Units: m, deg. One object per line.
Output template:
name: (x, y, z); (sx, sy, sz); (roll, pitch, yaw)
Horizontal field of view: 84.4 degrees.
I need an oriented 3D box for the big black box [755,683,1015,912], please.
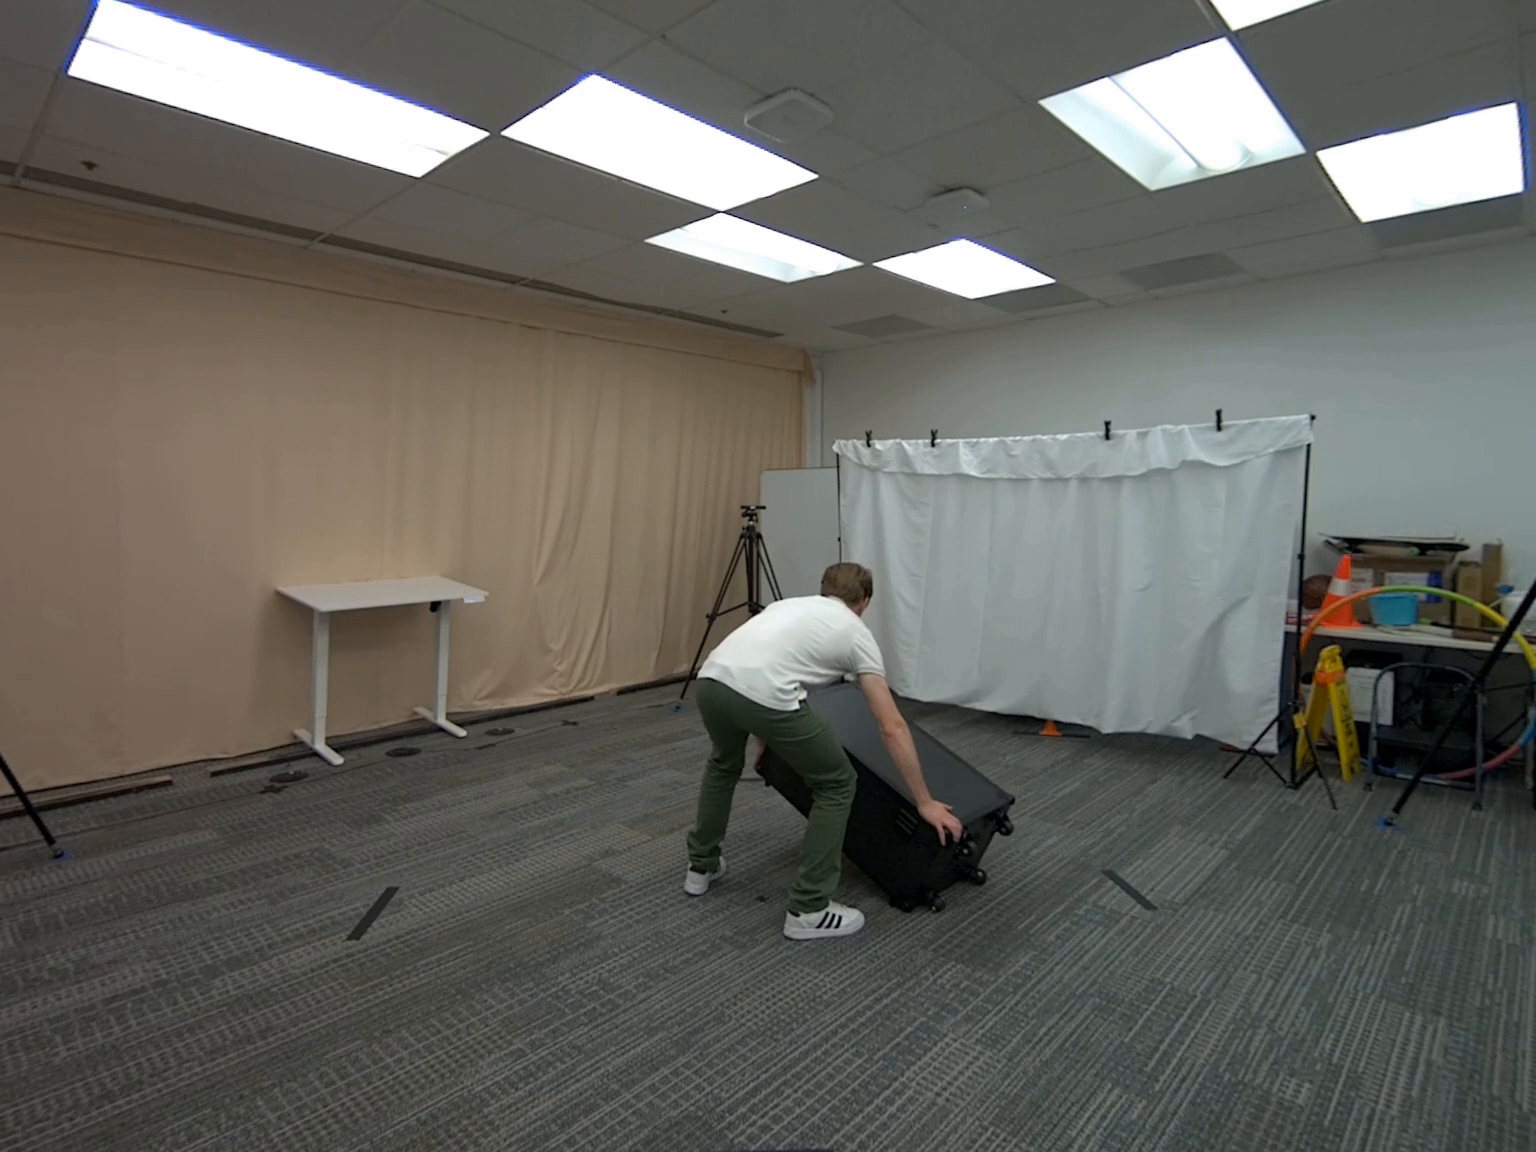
big black box: (0.453, 0.817, 3.196); (0.507, 0.383, 0.900); (-3, 30, -46)
